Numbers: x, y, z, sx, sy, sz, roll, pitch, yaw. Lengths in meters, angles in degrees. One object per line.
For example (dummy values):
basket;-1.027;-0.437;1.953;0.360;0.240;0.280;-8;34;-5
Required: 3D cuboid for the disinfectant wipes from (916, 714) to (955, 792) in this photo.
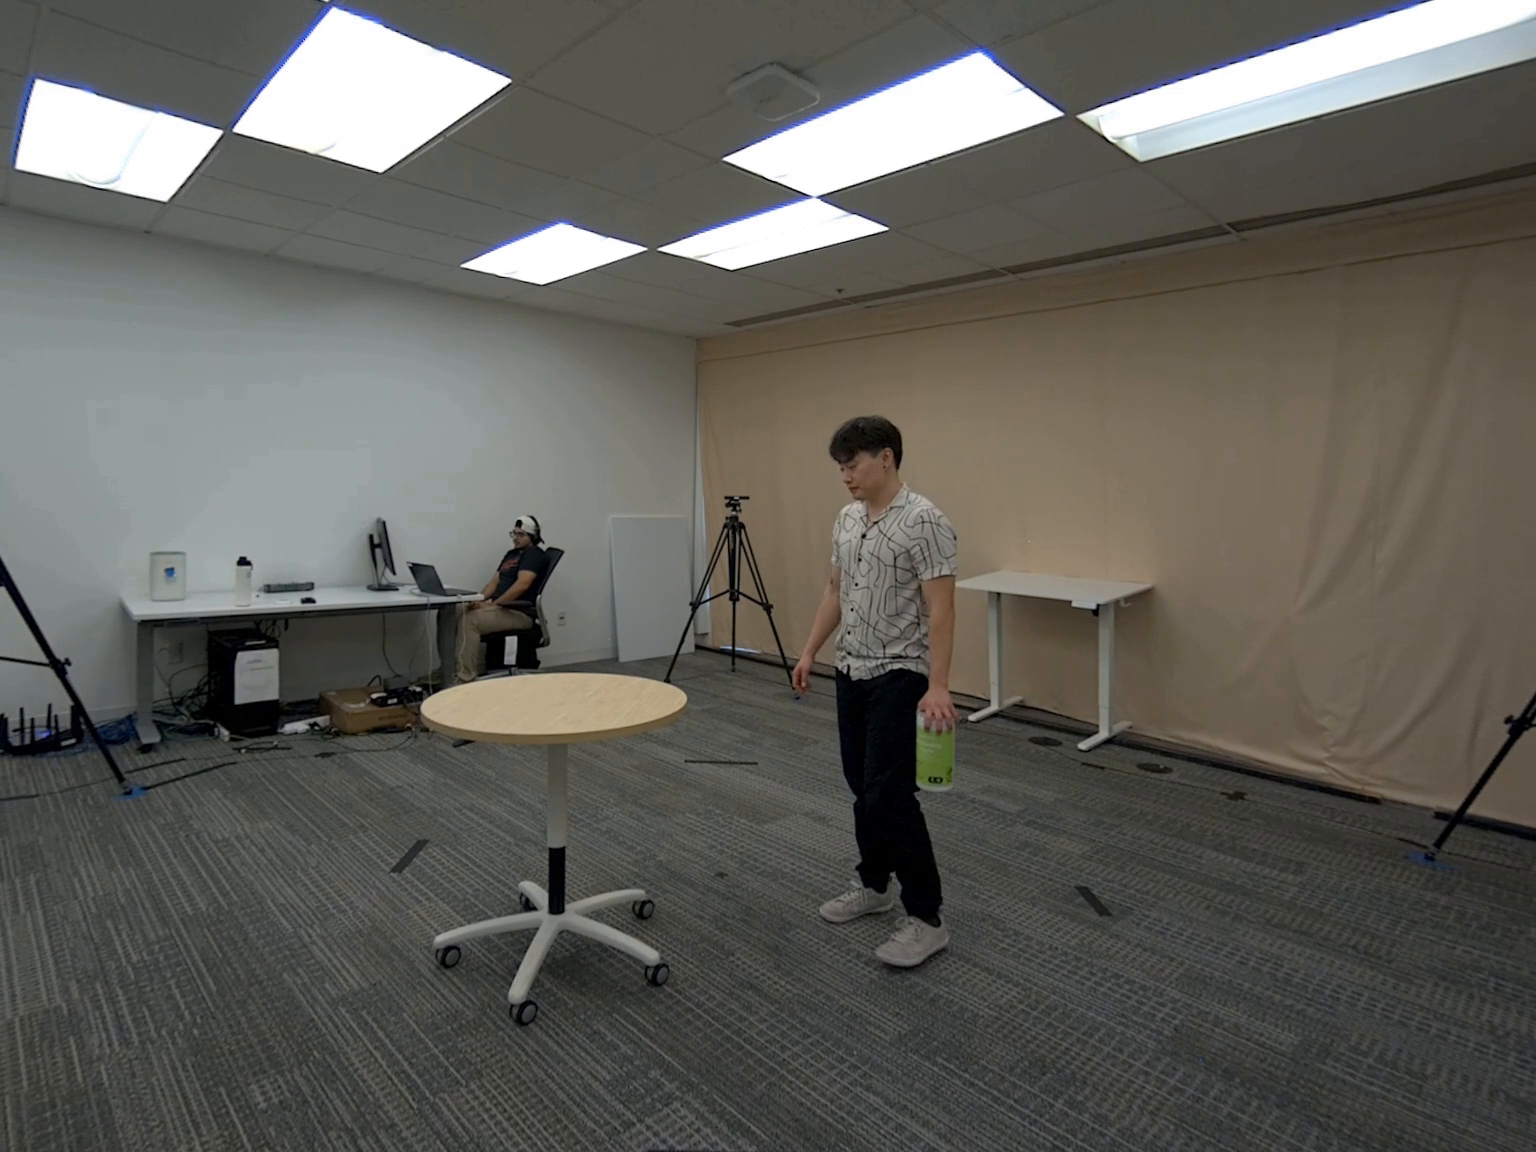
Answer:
disinfectant wipes;0.478;0.516;2.464;0.118;0.216;0.118;0;7;-1
